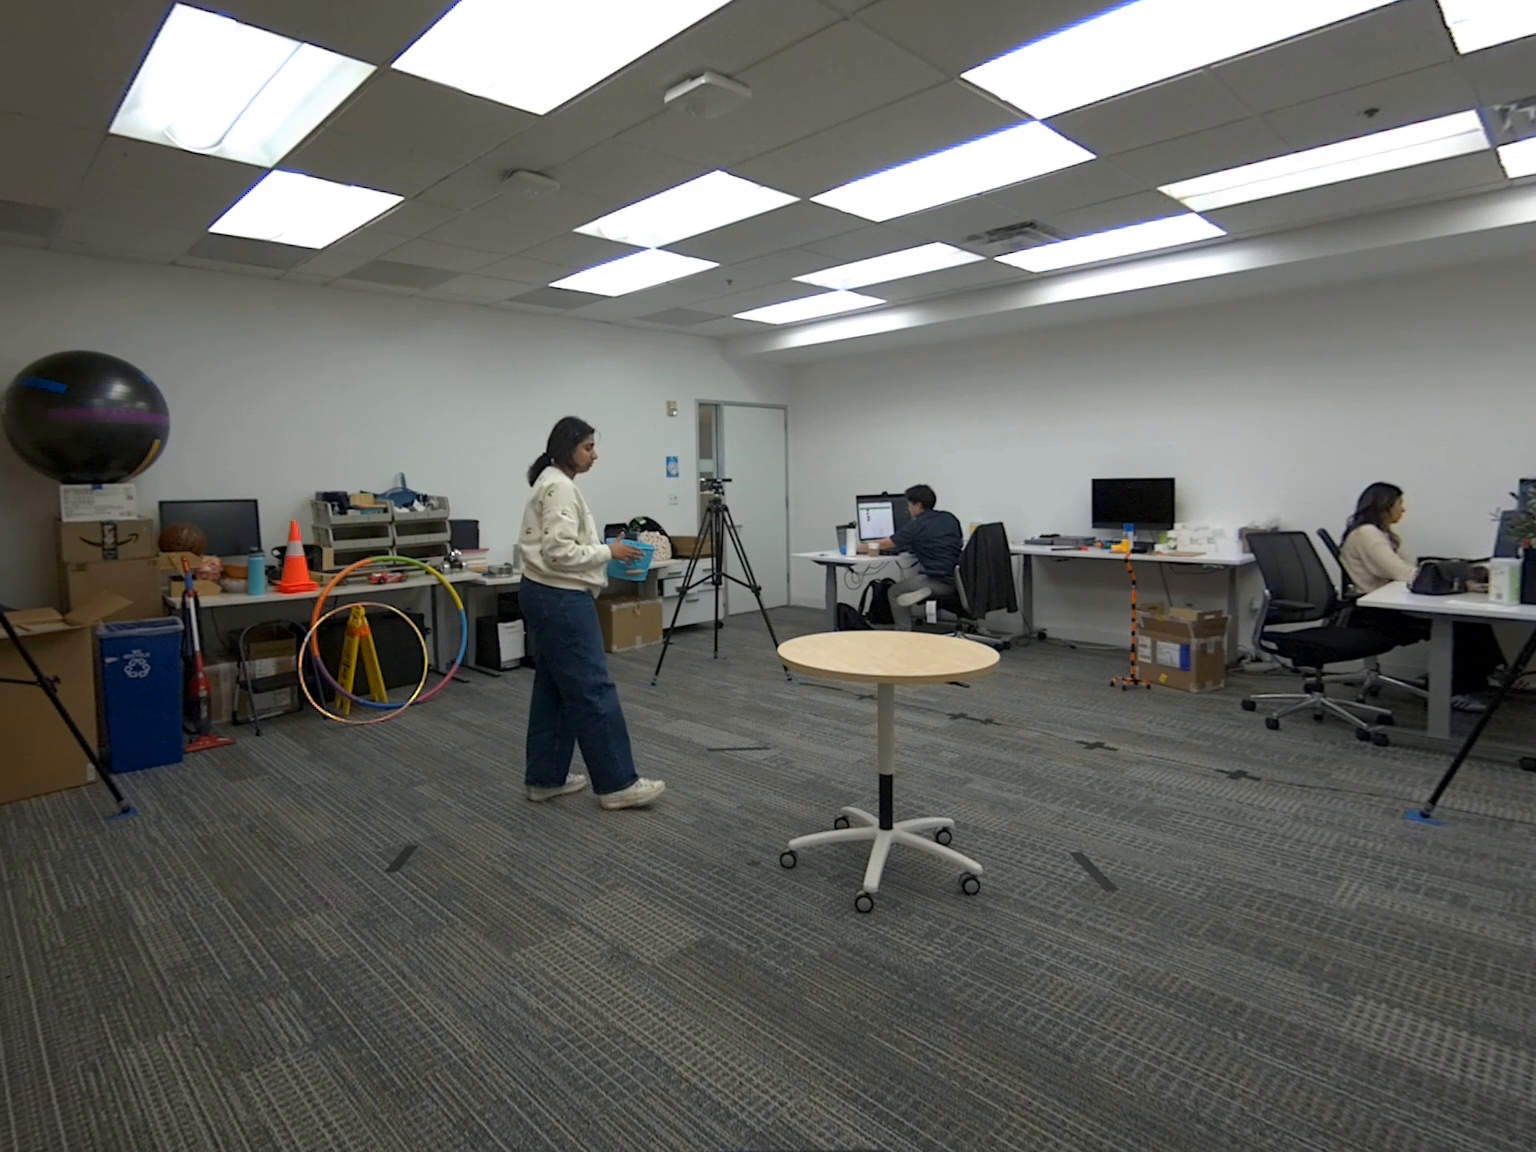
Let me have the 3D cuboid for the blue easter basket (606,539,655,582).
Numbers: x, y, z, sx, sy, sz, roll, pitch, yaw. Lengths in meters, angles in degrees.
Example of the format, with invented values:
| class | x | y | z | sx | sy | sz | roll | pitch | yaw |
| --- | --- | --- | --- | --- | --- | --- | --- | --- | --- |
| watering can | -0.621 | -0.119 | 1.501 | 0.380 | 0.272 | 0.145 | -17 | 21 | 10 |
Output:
| class | x | y | z | sx | sy | sz | roll | pitch | yaw |
| --- | --- | --- | --- | --- | --- | --- | --- | --- | --- |
| blue easter basket | -0.637 | -0.074 | 3.862 | 0.243 | 0.155 | 0.245 | 7 | 5 | -2 |
